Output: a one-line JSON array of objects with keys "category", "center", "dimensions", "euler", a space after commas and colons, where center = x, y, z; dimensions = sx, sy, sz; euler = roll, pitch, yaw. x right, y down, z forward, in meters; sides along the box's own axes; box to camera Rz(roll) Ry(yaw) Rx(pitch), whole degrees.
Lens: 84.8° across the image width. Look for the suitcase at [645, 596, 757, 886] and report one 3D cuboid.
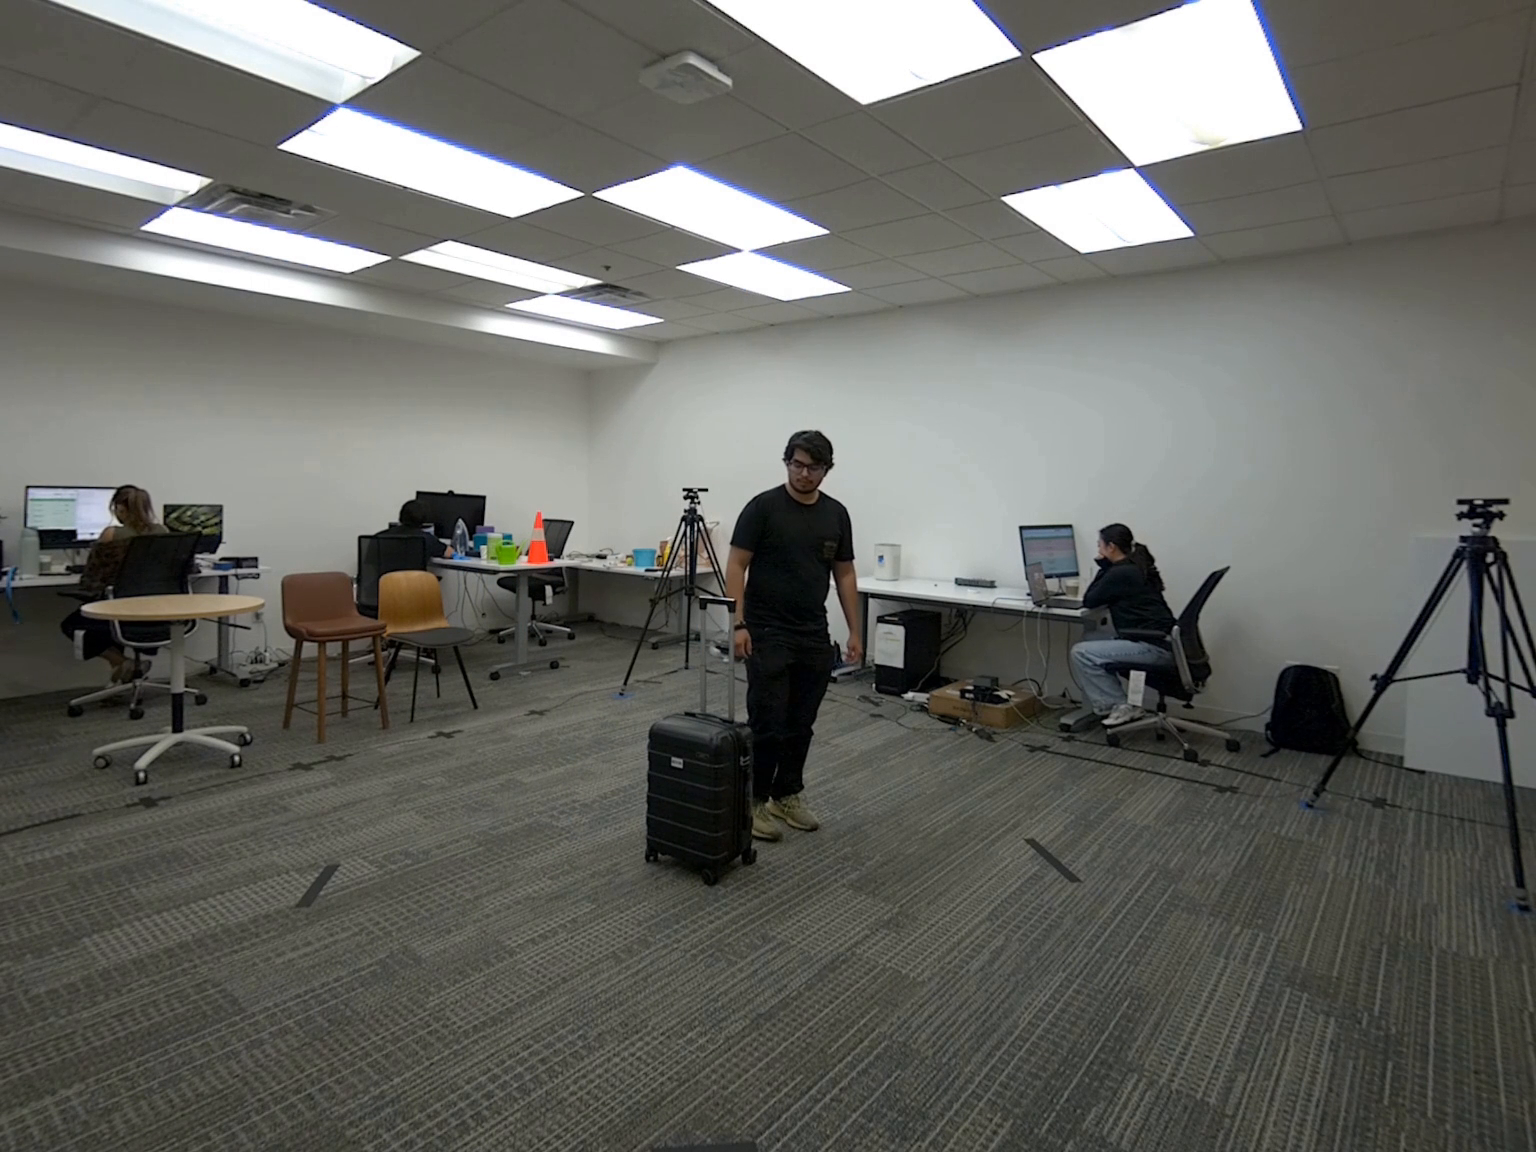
[{"category": "suitcase", "center": [-0.261, 0.590, 3.124], "dimensions": [0.396, 0.974, 0.250], "euler": [4, 6, 35]}]
